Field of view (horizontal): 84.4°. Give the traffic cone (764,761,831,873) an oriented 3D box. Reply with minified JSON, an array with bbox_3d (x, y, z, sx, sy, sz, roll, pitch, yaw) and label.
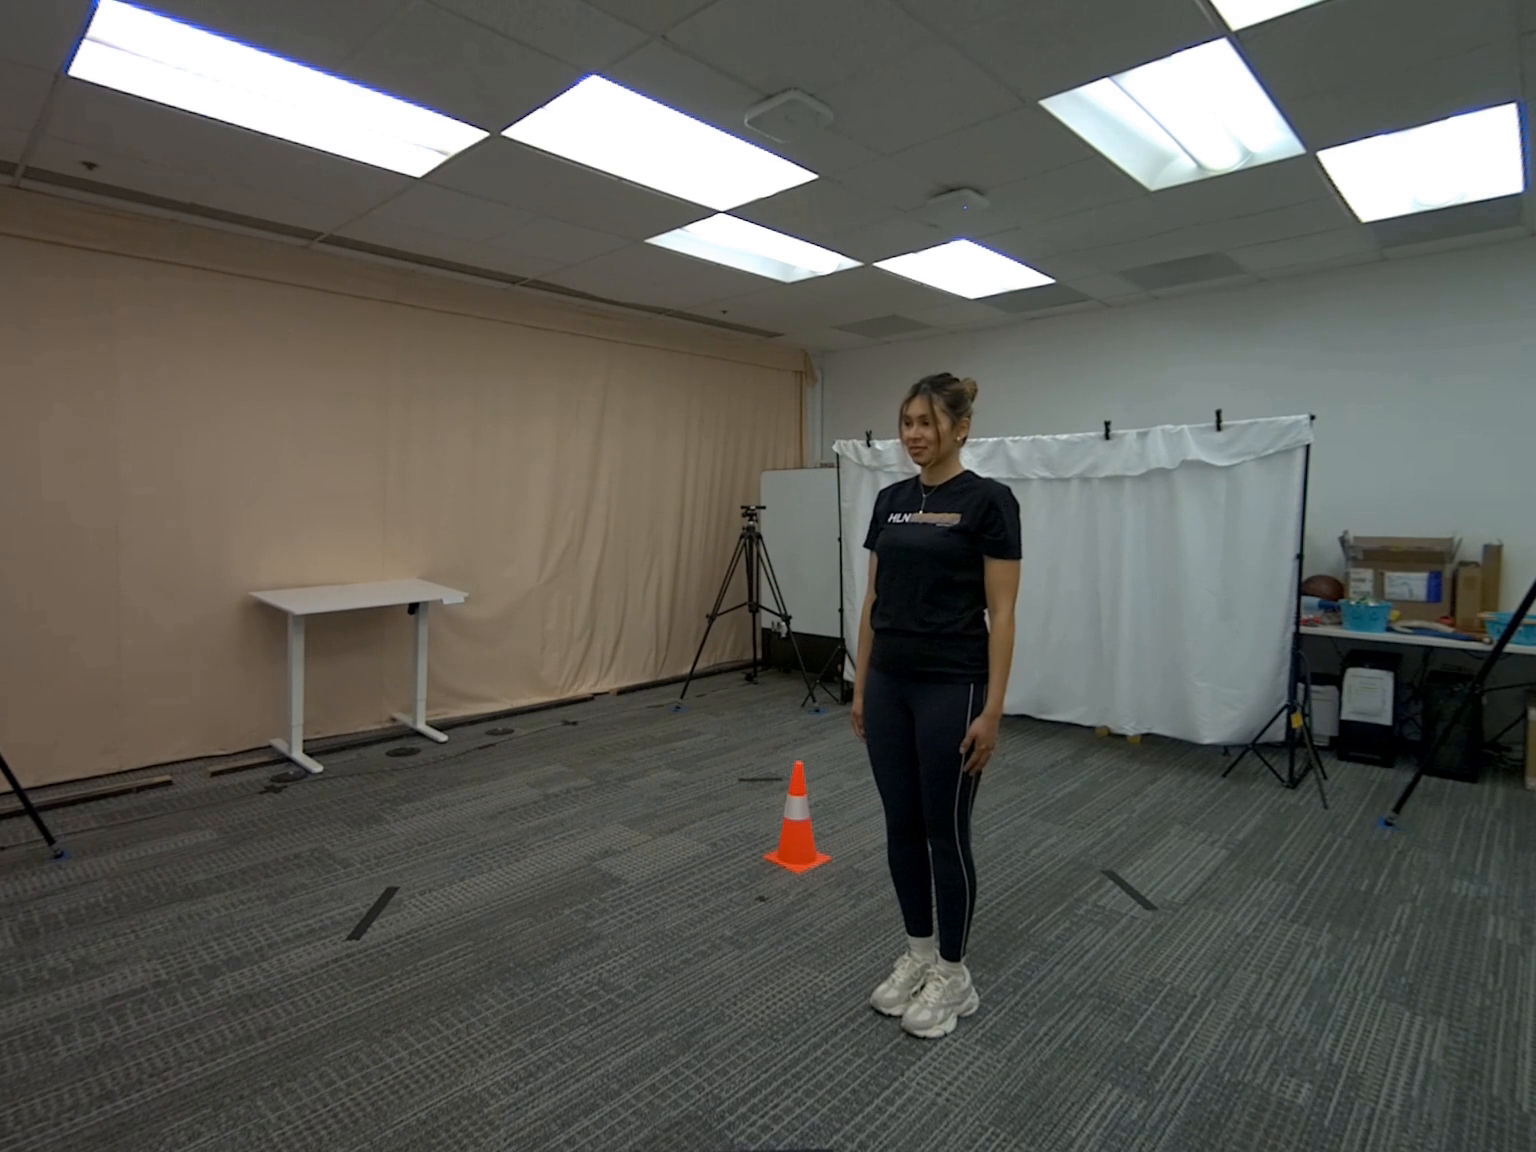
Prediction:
[{"bbox_3d":[0.117,0.932,3.317,0.197,0.383,0.211,-2,4,-34],"label":"traffic cone"}]
